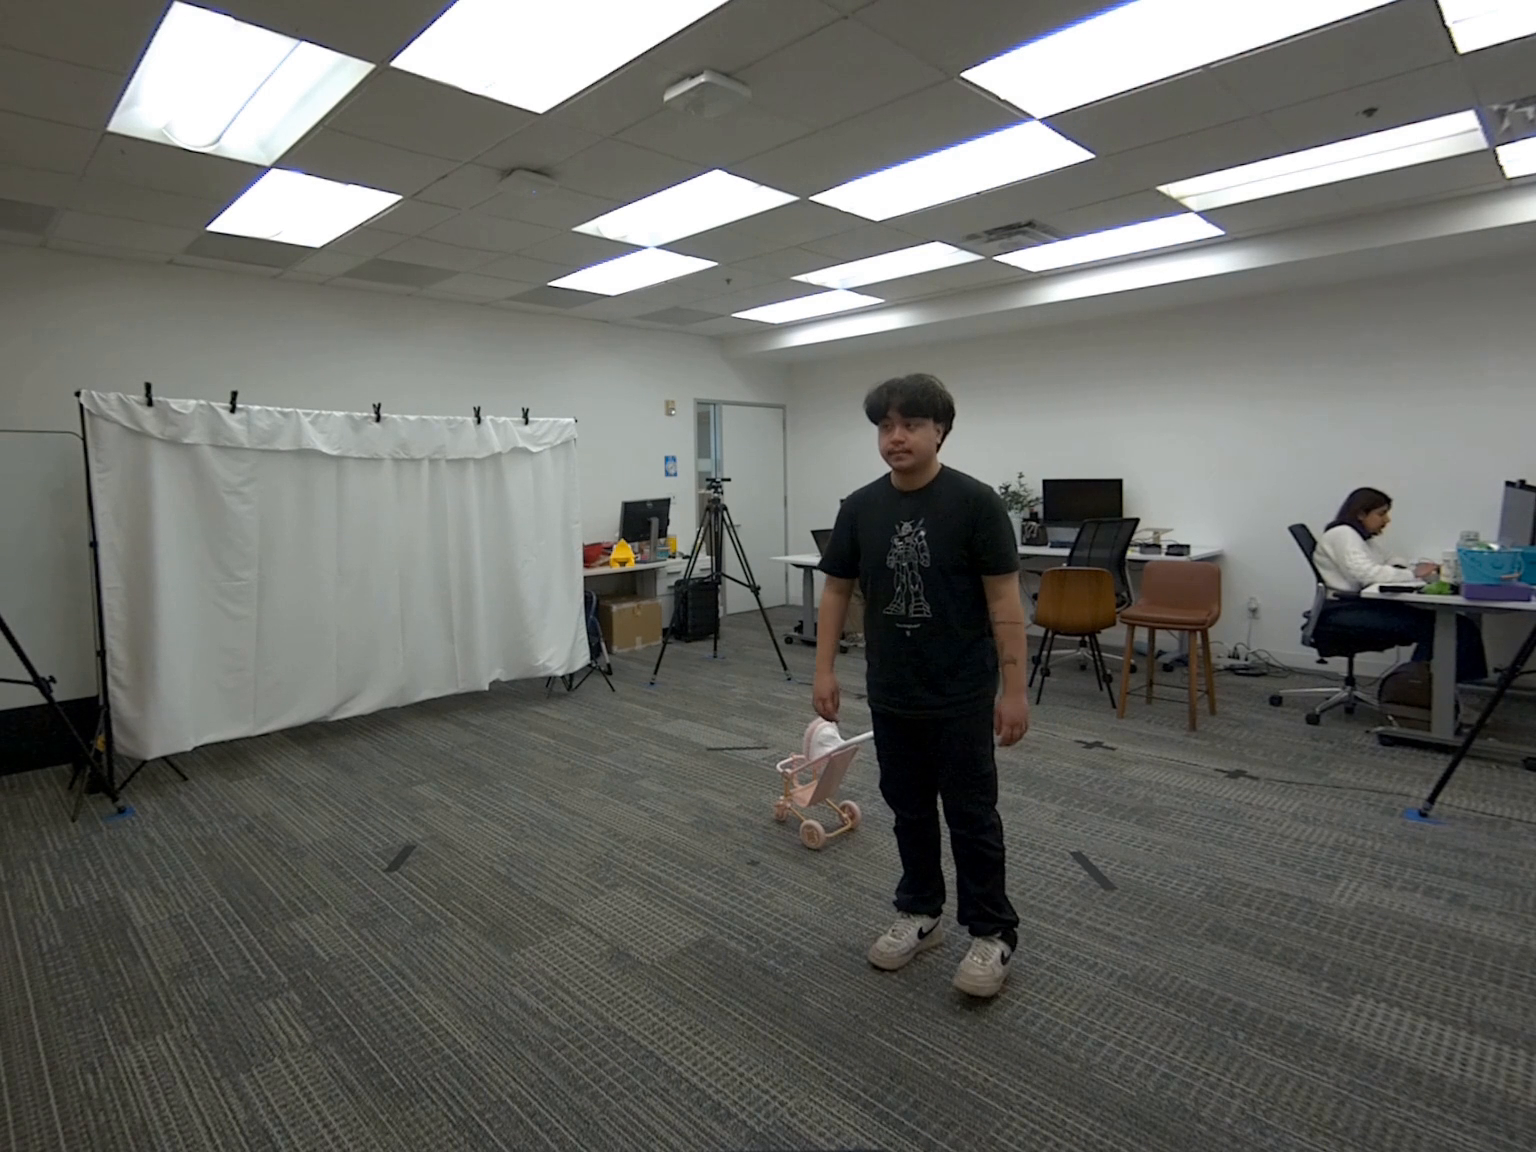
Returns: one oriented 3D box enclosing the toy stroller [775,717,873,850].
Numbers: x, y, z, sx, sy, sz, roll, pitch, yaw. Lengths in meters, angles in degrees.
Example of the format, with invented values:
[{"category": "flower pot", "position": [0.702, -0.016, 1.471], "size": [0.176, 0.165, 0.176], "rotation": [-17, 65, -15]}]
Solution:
[{"category": "toy stroller", "position": [0.197, 0.784, 3.338], "size": [0.274, 0.529, 0.354], "rotation": [-5, 21, -45]}]
